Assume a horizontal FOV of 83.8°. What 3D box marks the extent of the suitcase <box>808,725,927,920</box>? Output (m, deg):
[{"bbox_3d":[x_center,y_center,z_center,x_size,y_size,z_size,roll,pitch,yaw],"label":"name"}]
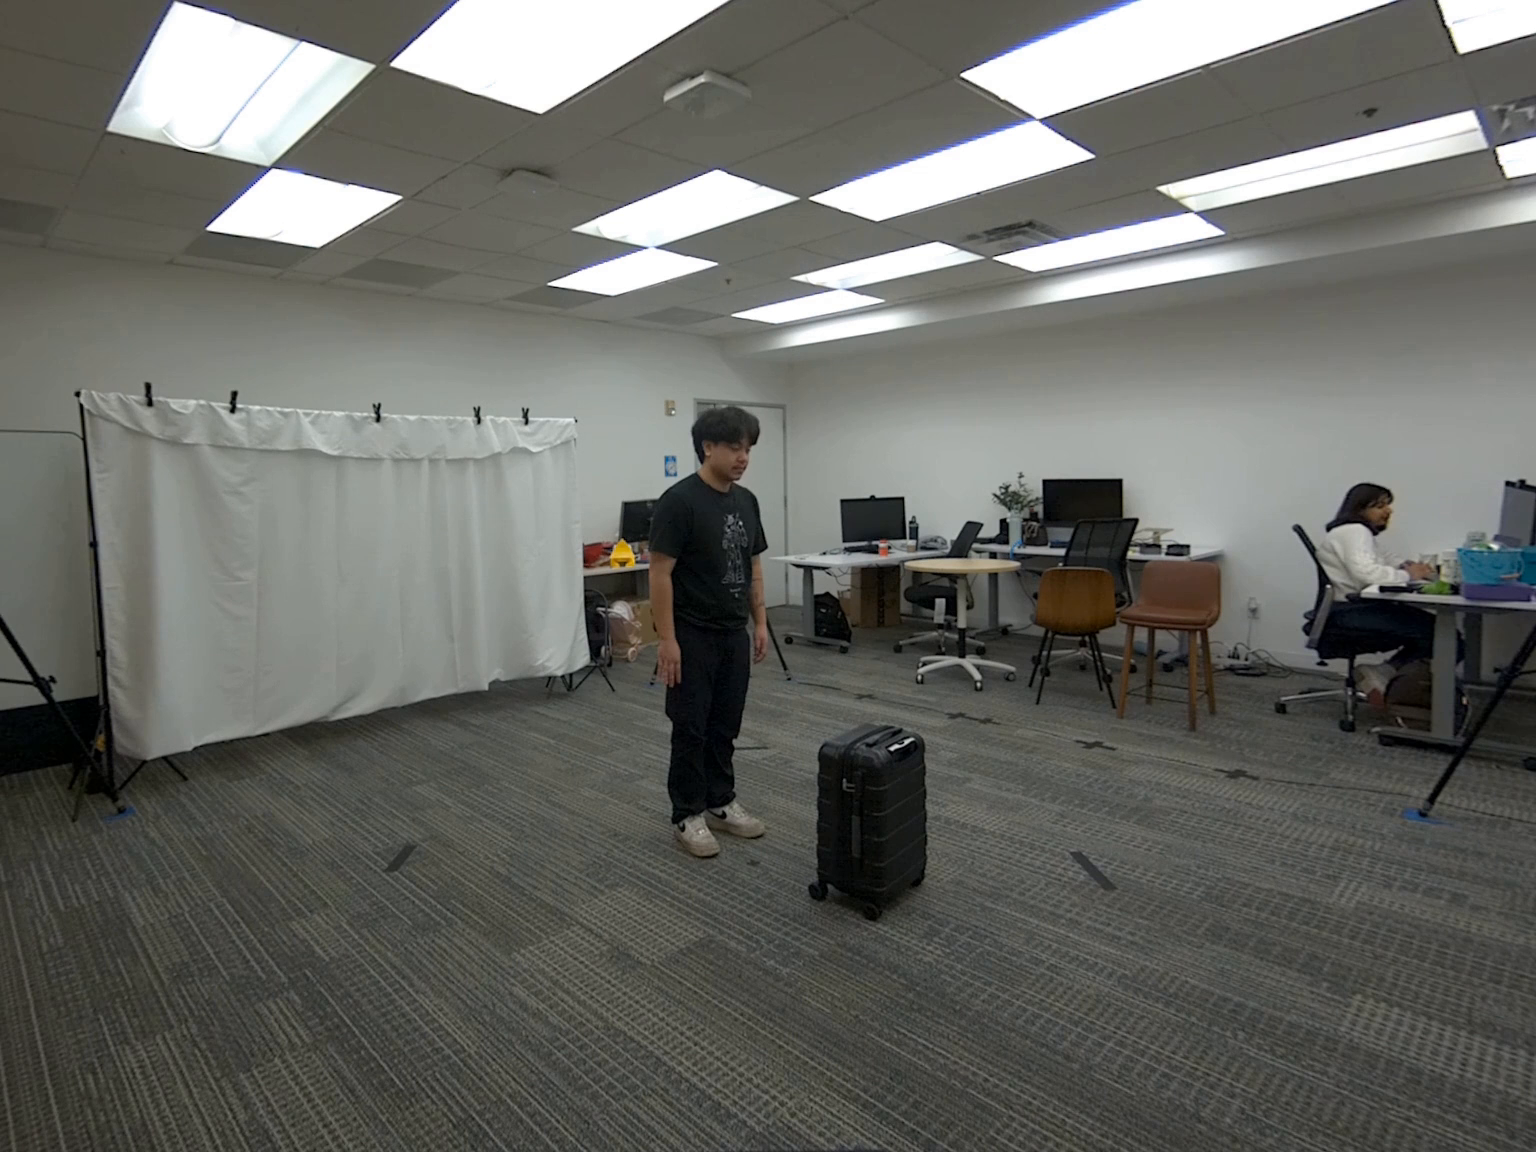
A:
[{"bbox_3d":[0.351,0.789,2.846,0.256,0.547,0.366,3,6,38],"label":"suitcase"}]
